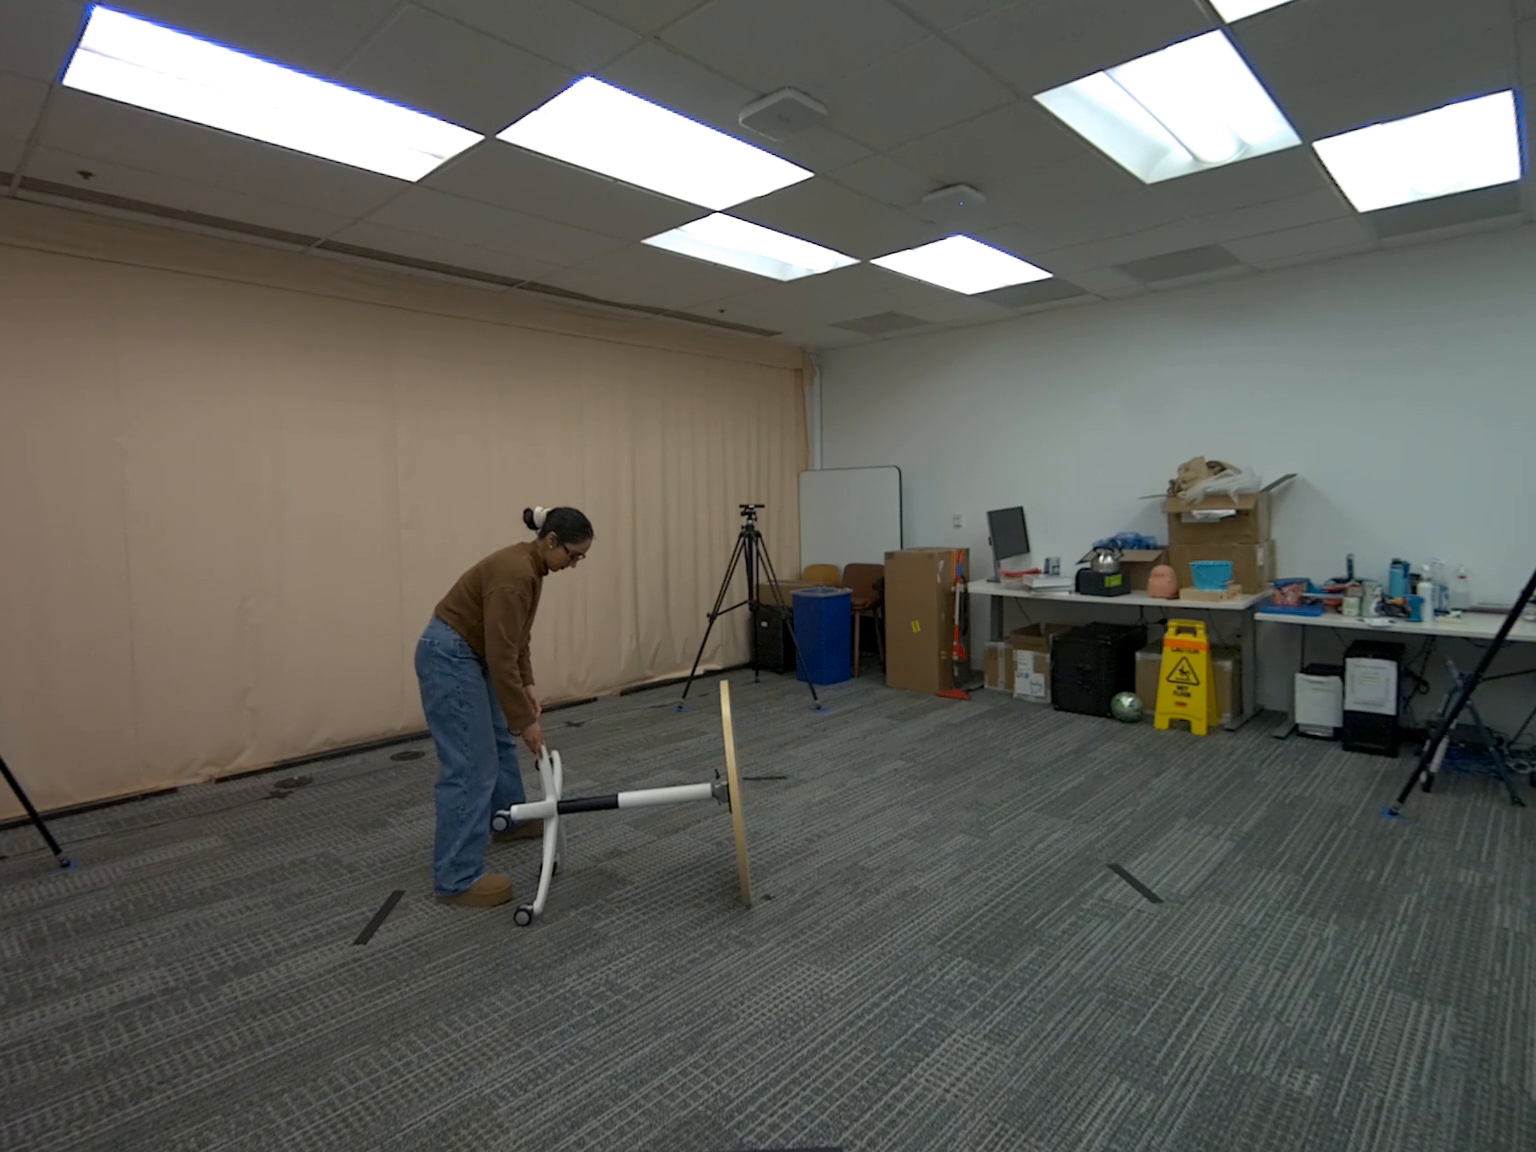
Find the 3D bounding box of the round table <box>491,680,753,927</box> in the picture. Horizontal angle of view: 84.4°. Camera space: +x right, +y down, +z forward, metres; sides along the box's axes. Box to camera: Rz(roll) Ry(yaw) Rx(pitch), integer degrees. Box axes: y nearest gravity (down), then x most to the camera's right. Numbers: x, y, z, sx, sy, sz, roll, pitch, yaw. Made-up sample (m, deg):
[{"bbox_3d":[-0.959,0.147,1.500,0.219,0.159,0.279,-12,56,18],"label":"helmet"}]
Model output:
[{"bbox_3d":[-0.494,0.806,3.011,0.795,0.762,0.765,-6,4,0],"label":"round table"}]
